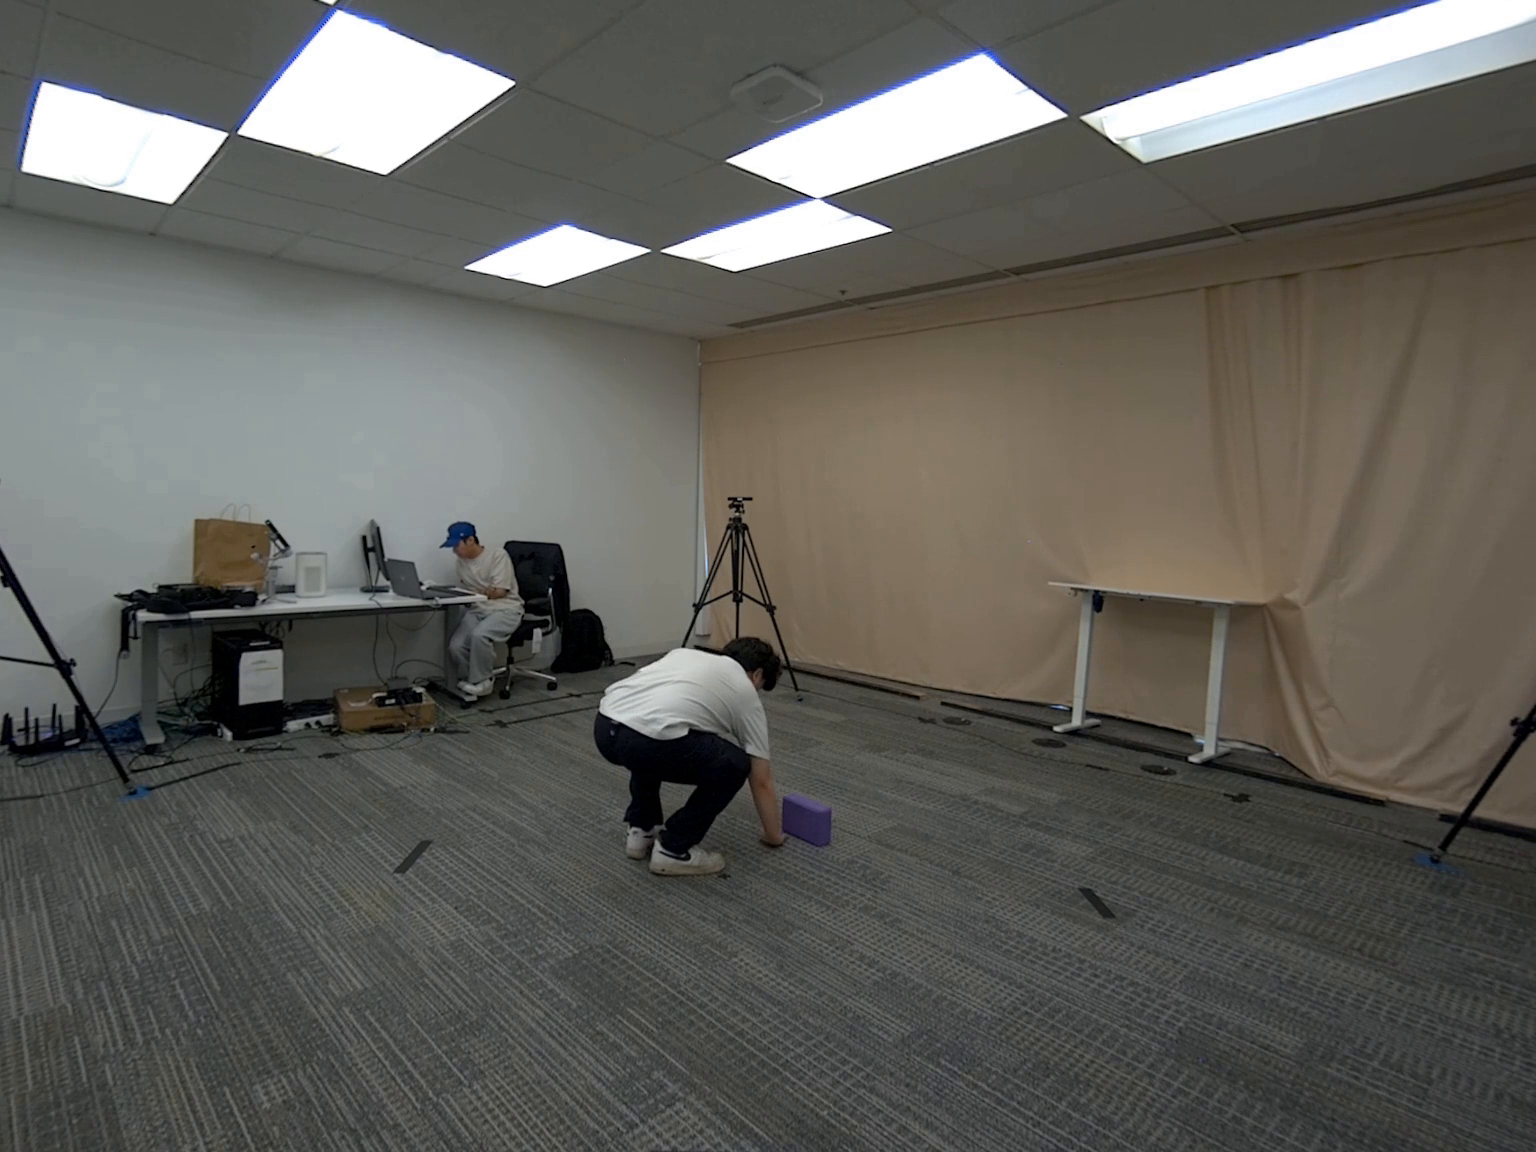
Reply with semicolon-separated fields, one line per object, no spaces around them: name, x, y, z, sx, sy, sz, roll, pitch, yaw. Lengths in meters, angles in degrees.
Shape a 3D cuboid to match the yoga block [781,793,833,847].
yoga block;0.147;1.006;3.490;0.074;0.149;0.235;2;4;-42
